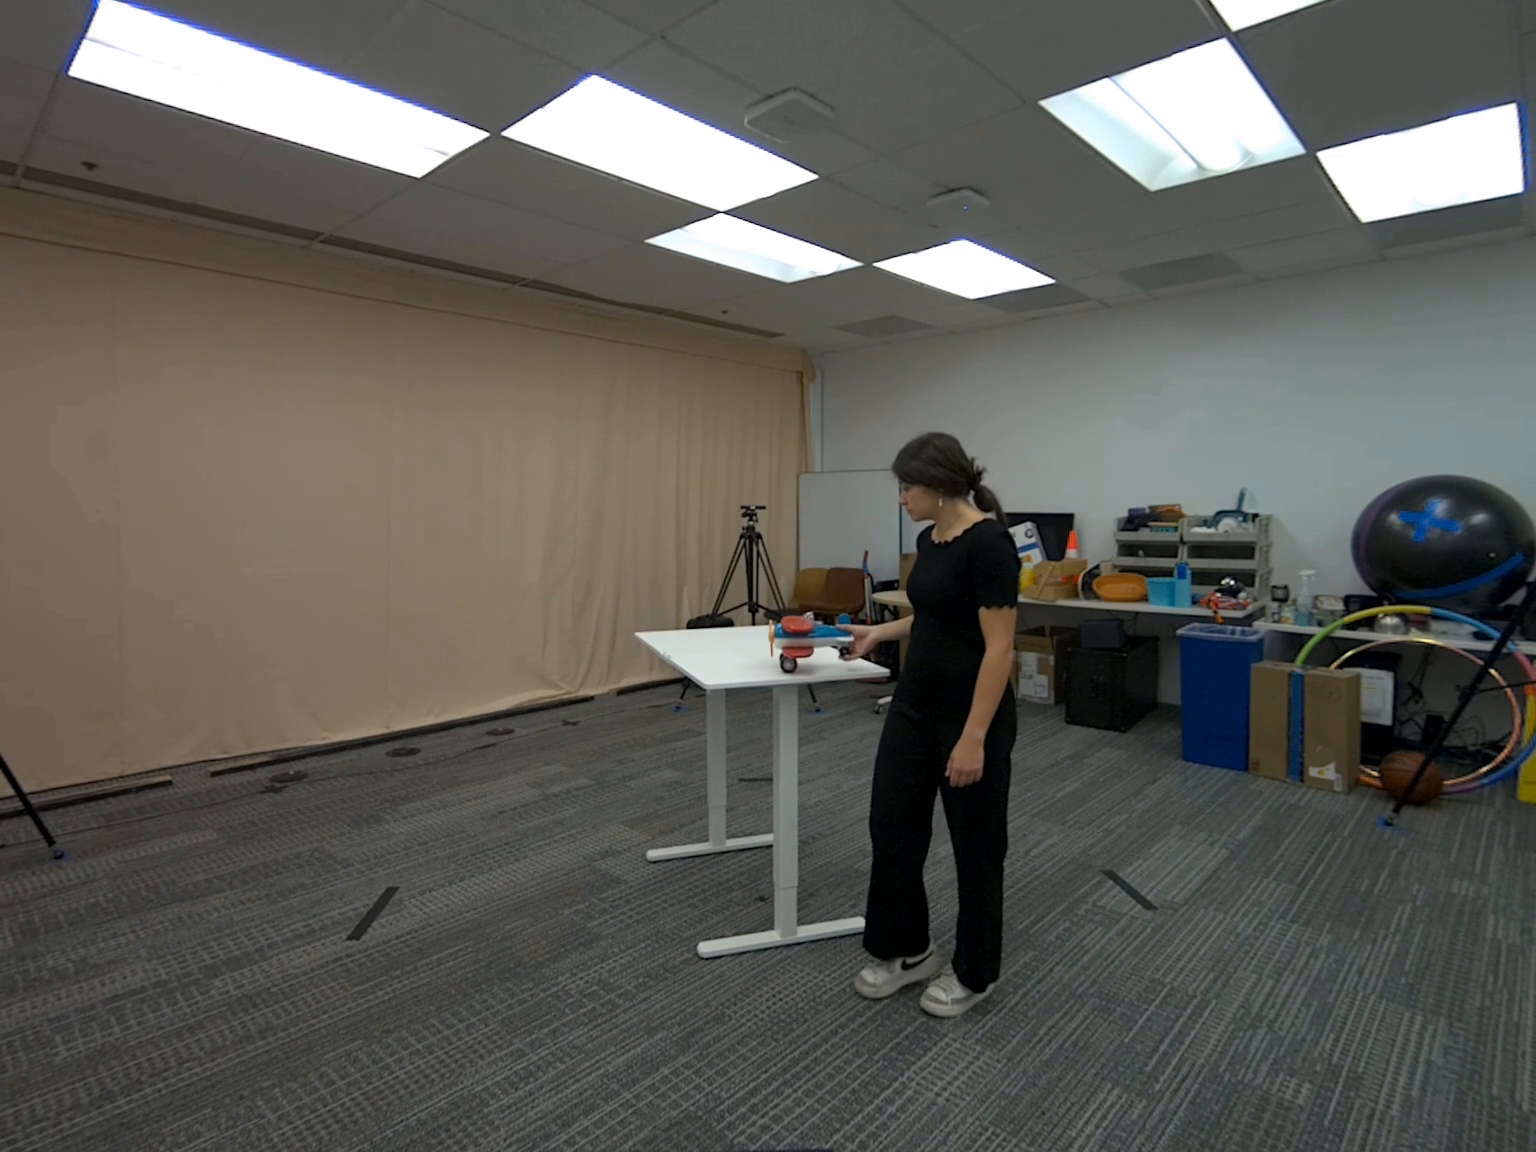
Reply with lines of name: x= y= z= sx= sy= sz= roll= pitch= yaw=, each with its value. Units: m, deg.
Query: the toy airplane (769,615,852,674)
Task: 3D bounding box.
toy airplane: x=0.136 y=0.197 z=2.634 sx=0.254 sy=0.156 sz=0.257 roll=-18 pitch=6 yaw=-27
